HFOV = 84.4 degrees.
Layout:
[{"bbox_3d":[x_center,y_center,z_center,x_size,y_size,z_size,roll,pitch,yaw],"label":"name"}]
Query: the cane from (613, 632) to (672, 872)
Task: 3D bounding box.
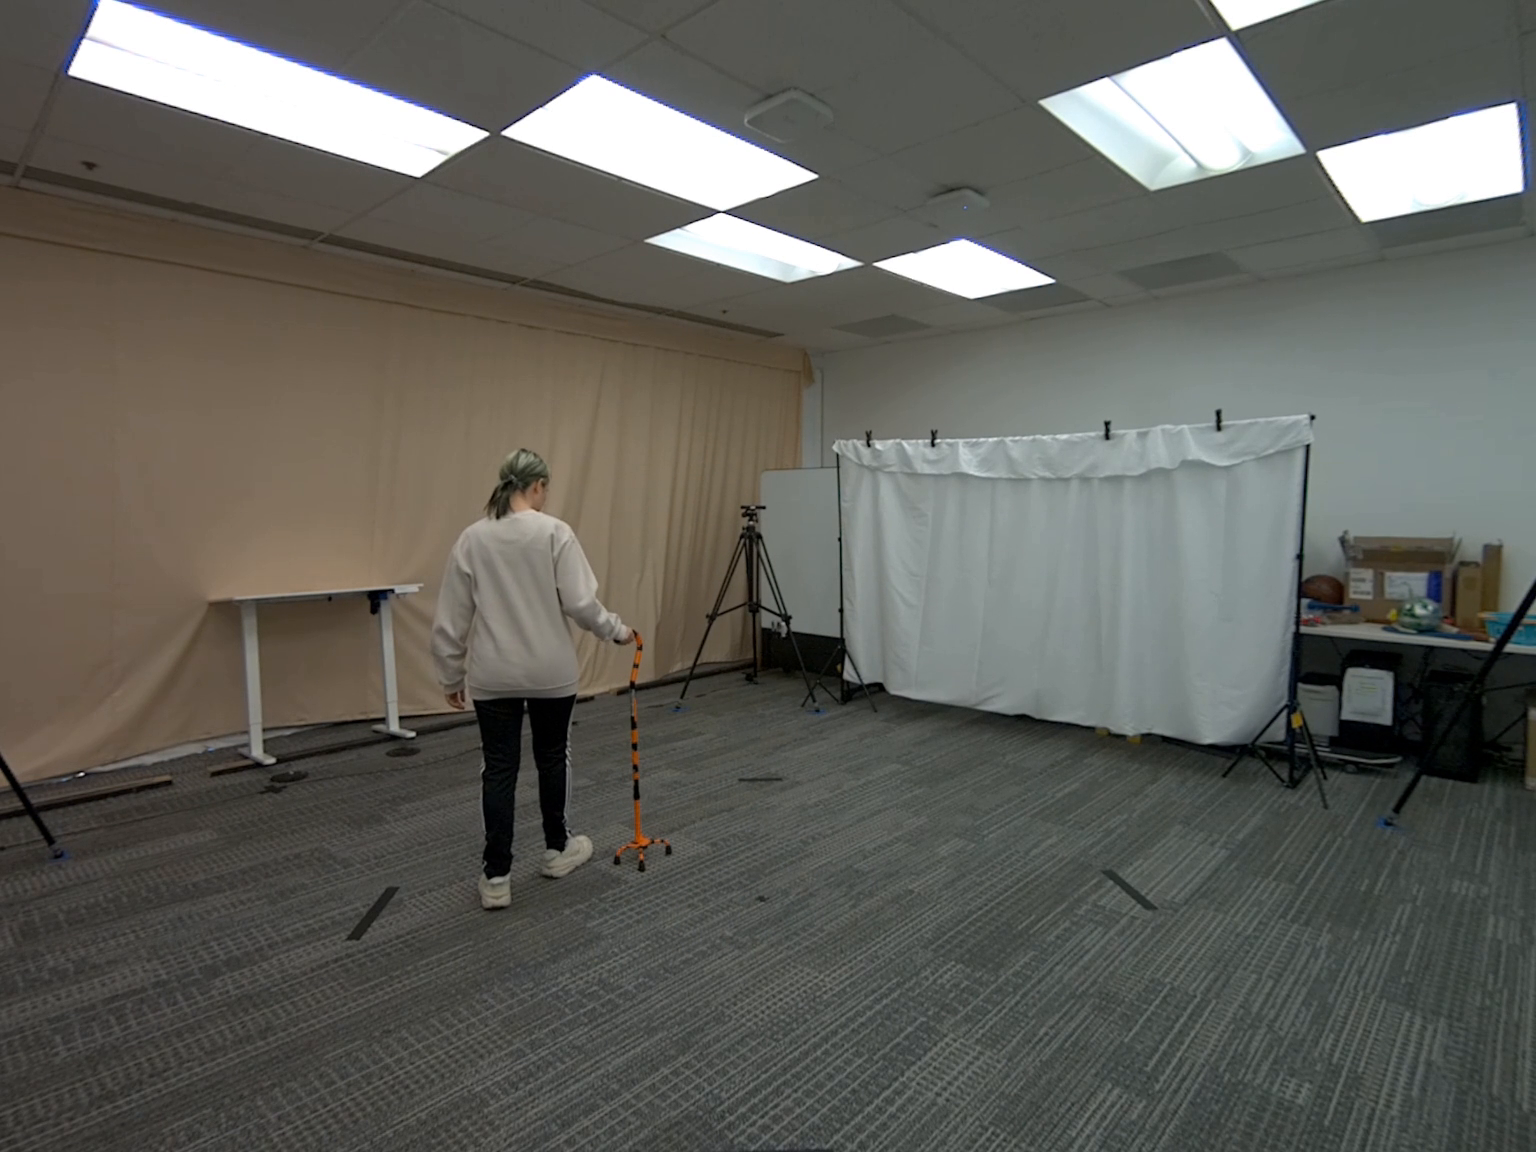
[{"bbox_3d":[-0.506,0.668,3.301,0.156,0.906,0.201,0,4,27],"label":"cane"}]
